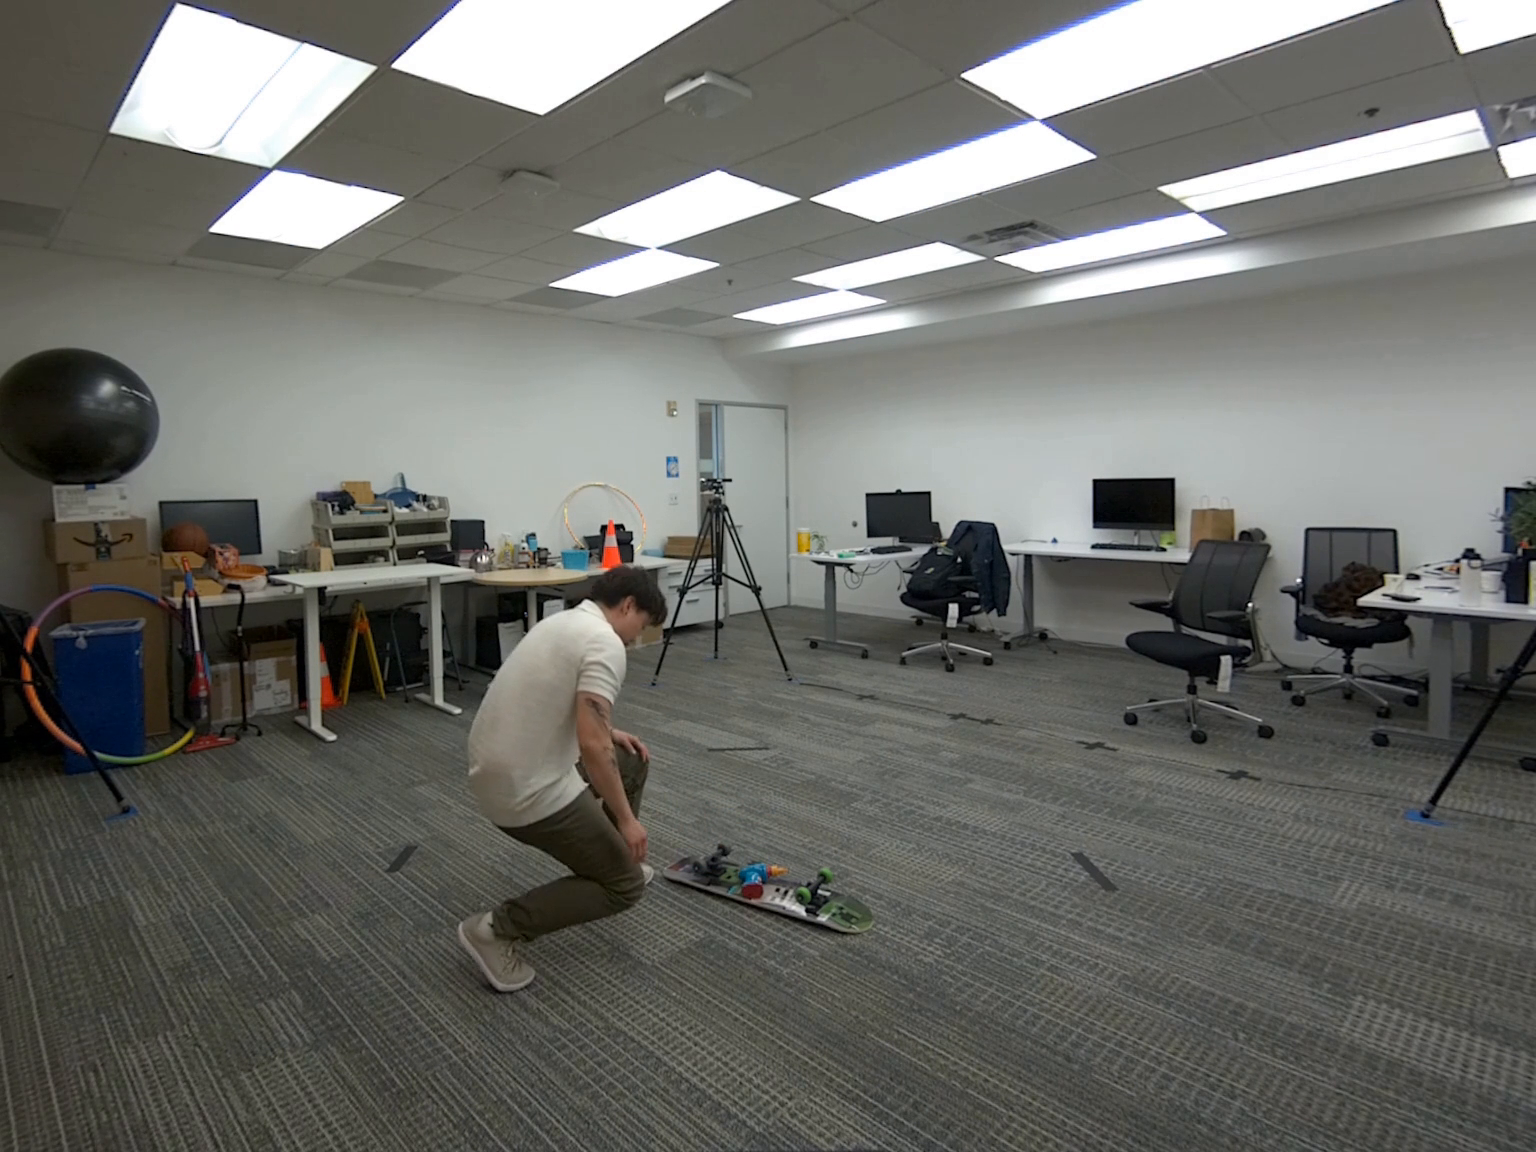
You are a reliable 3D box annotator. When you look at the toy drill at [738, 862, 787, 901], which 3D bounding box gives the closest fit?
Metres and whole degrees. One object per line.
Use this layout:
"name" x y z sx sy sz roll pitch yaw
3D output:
"toy drill" -0.017 1.012 2.851 0.170 0.061 0.146 -8 6 3
